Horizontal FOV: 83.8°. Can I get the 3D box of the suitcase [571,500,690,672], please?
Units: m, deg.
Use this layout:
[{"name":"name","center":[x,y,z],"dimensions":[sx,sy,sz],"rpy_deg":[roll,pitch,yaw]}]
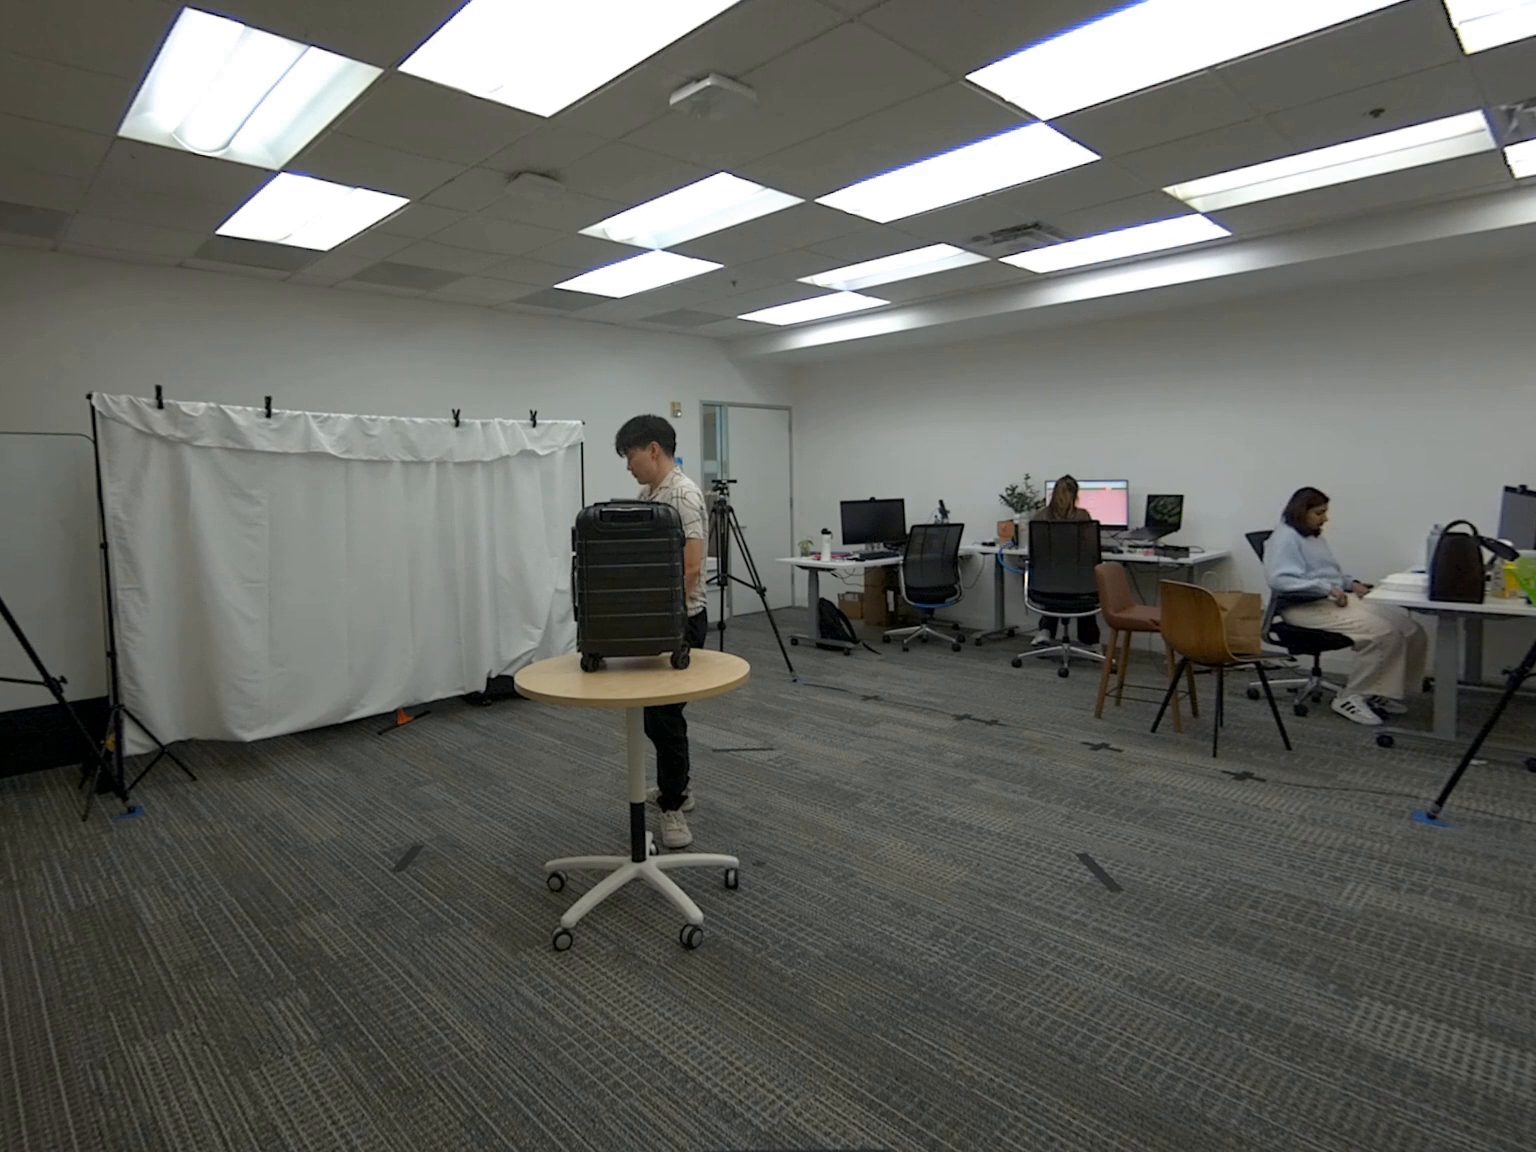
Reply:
[{"name":"suitcase","center":[-0.471,0.022,2.882],"dimensions":[0.375,0.547,0.249],"rpy_deg":[-3,4,-1]}]
